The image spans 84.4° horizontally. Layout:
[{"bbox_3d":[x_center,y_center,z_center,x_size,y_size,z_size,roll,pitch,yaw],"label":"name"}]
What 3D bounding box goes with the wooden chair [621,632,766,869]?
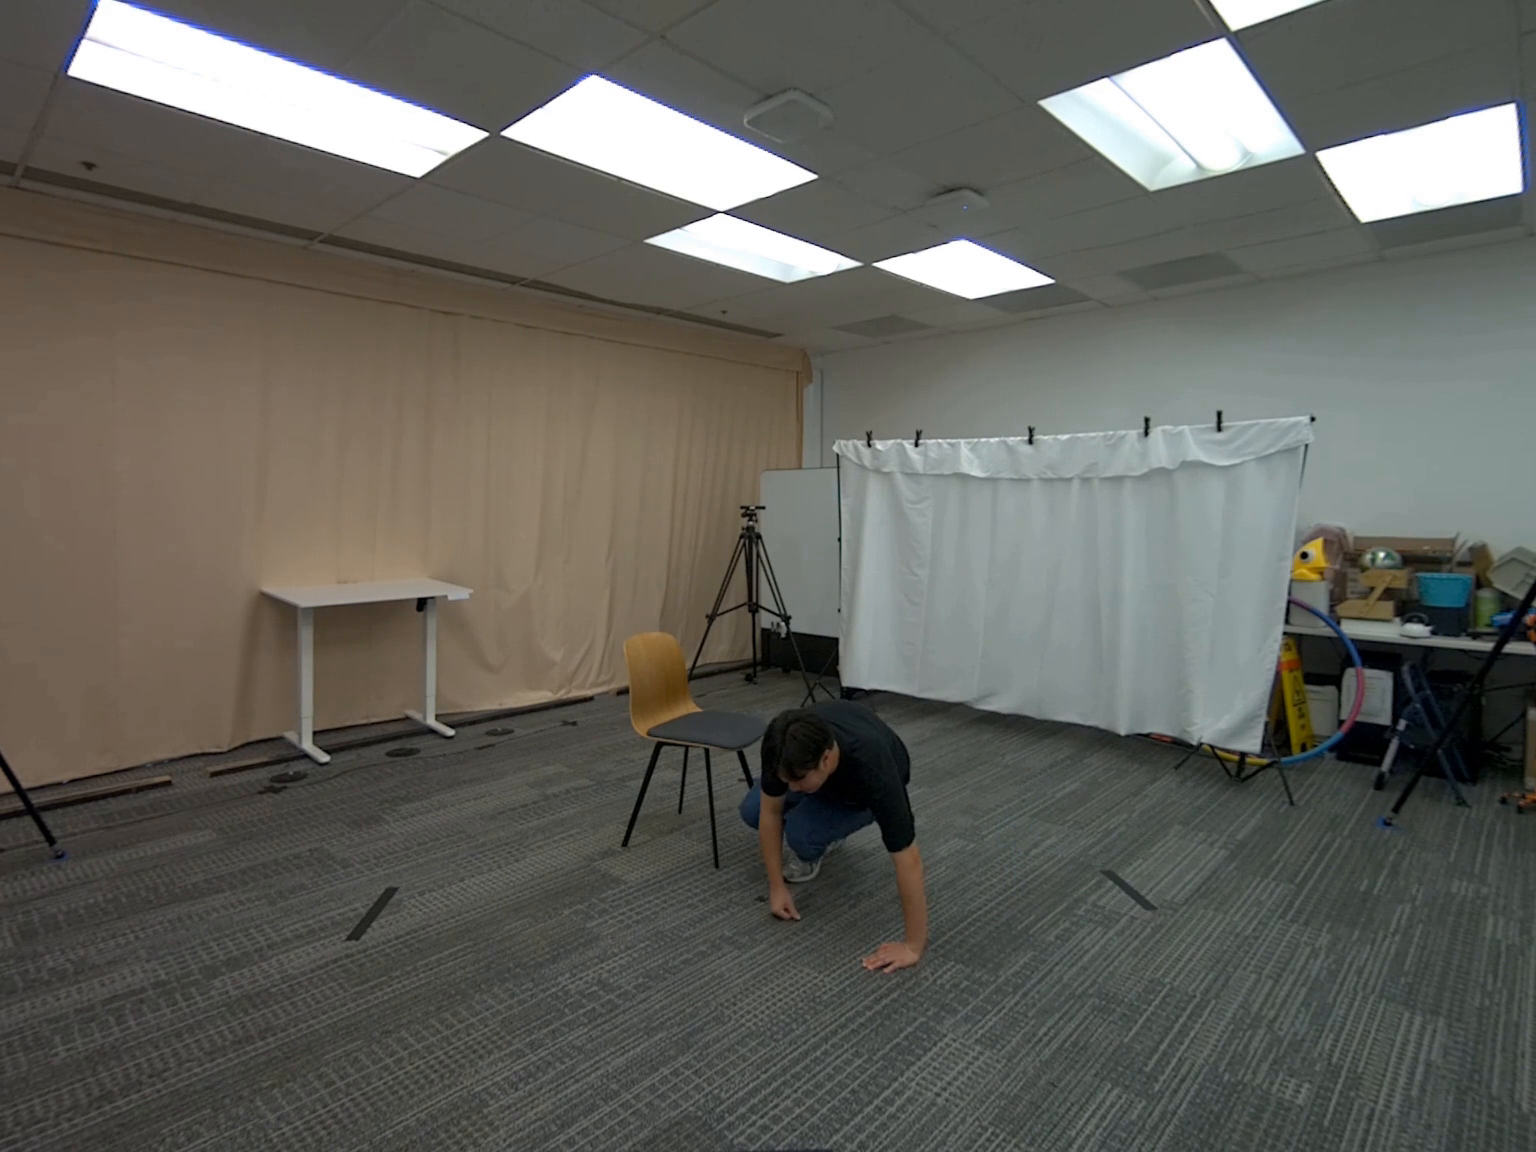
[{"bbox_3d":[-0.293,0.675,3.500,0.537,0.877,0.466,-4,1,28],"label":"wooden chair"}]
